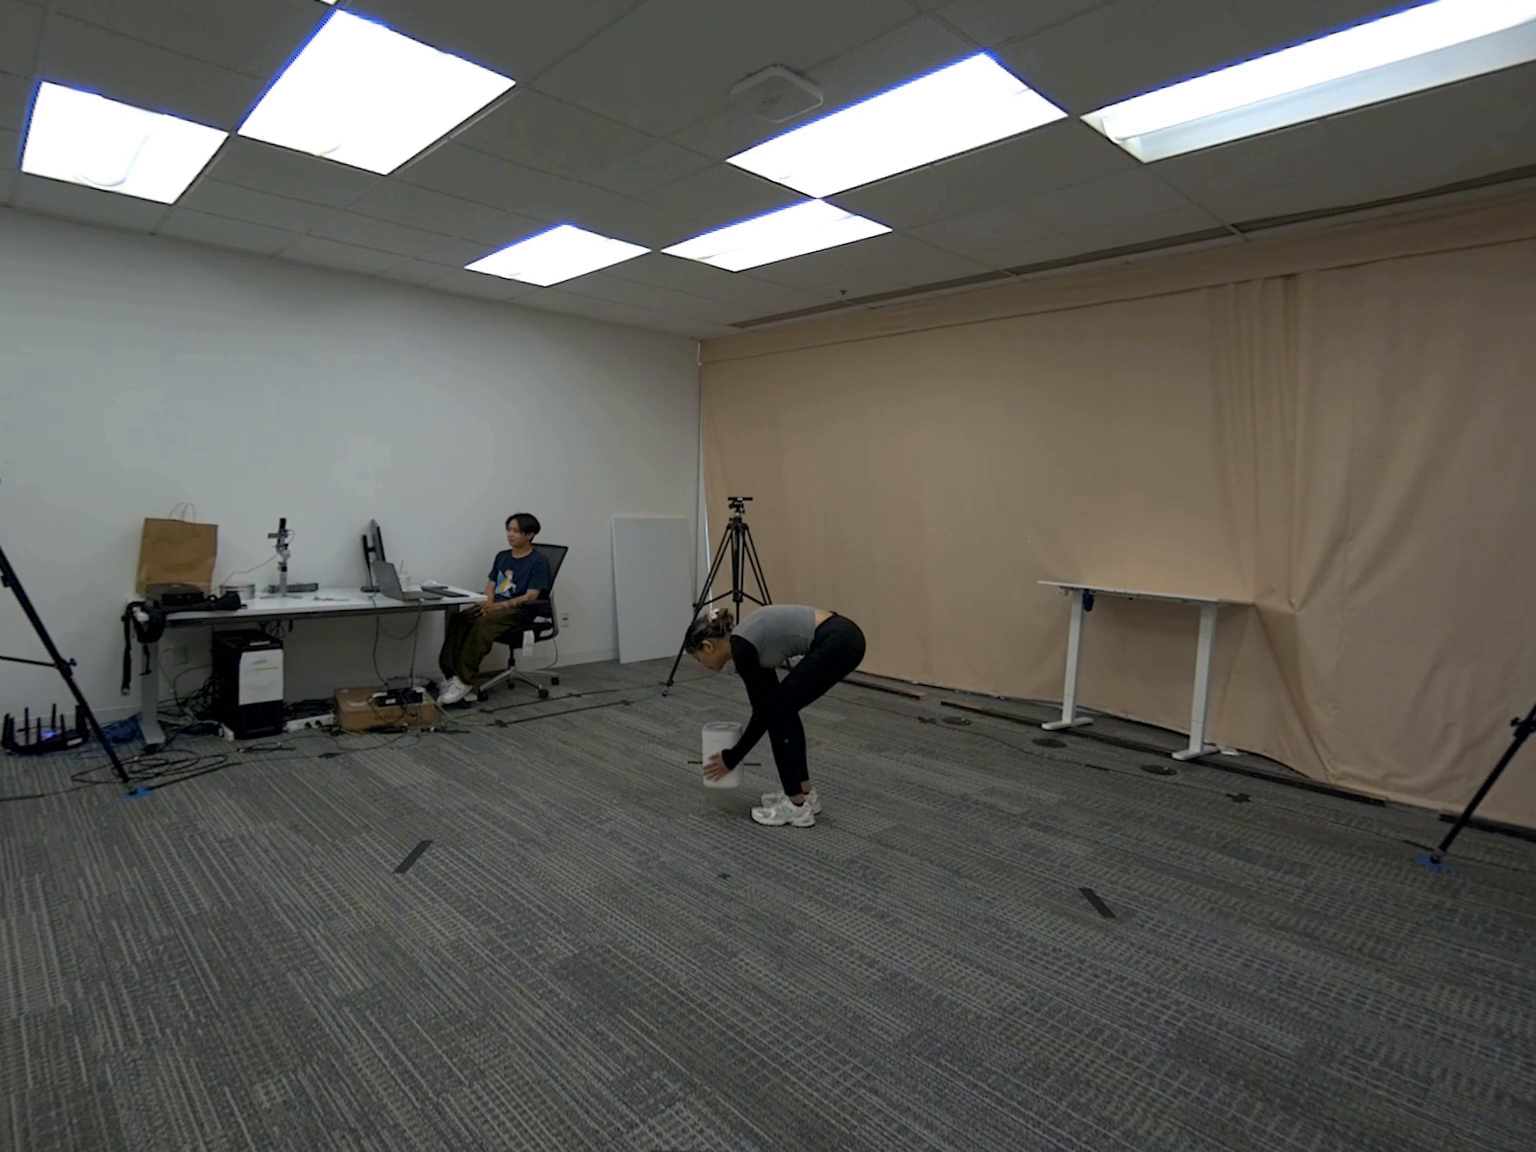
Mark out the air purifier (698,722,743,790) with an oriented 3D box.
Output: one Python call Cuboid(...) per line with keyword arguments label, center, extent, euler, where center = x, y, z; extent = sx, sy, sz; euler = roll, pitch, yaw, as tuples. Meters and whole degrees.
Cuboid(label="air purifier", center=(-0.203, 0.785, 3.735), extent=(0.172, 0.265, 0.170), euler=(-2, 0, 10))
